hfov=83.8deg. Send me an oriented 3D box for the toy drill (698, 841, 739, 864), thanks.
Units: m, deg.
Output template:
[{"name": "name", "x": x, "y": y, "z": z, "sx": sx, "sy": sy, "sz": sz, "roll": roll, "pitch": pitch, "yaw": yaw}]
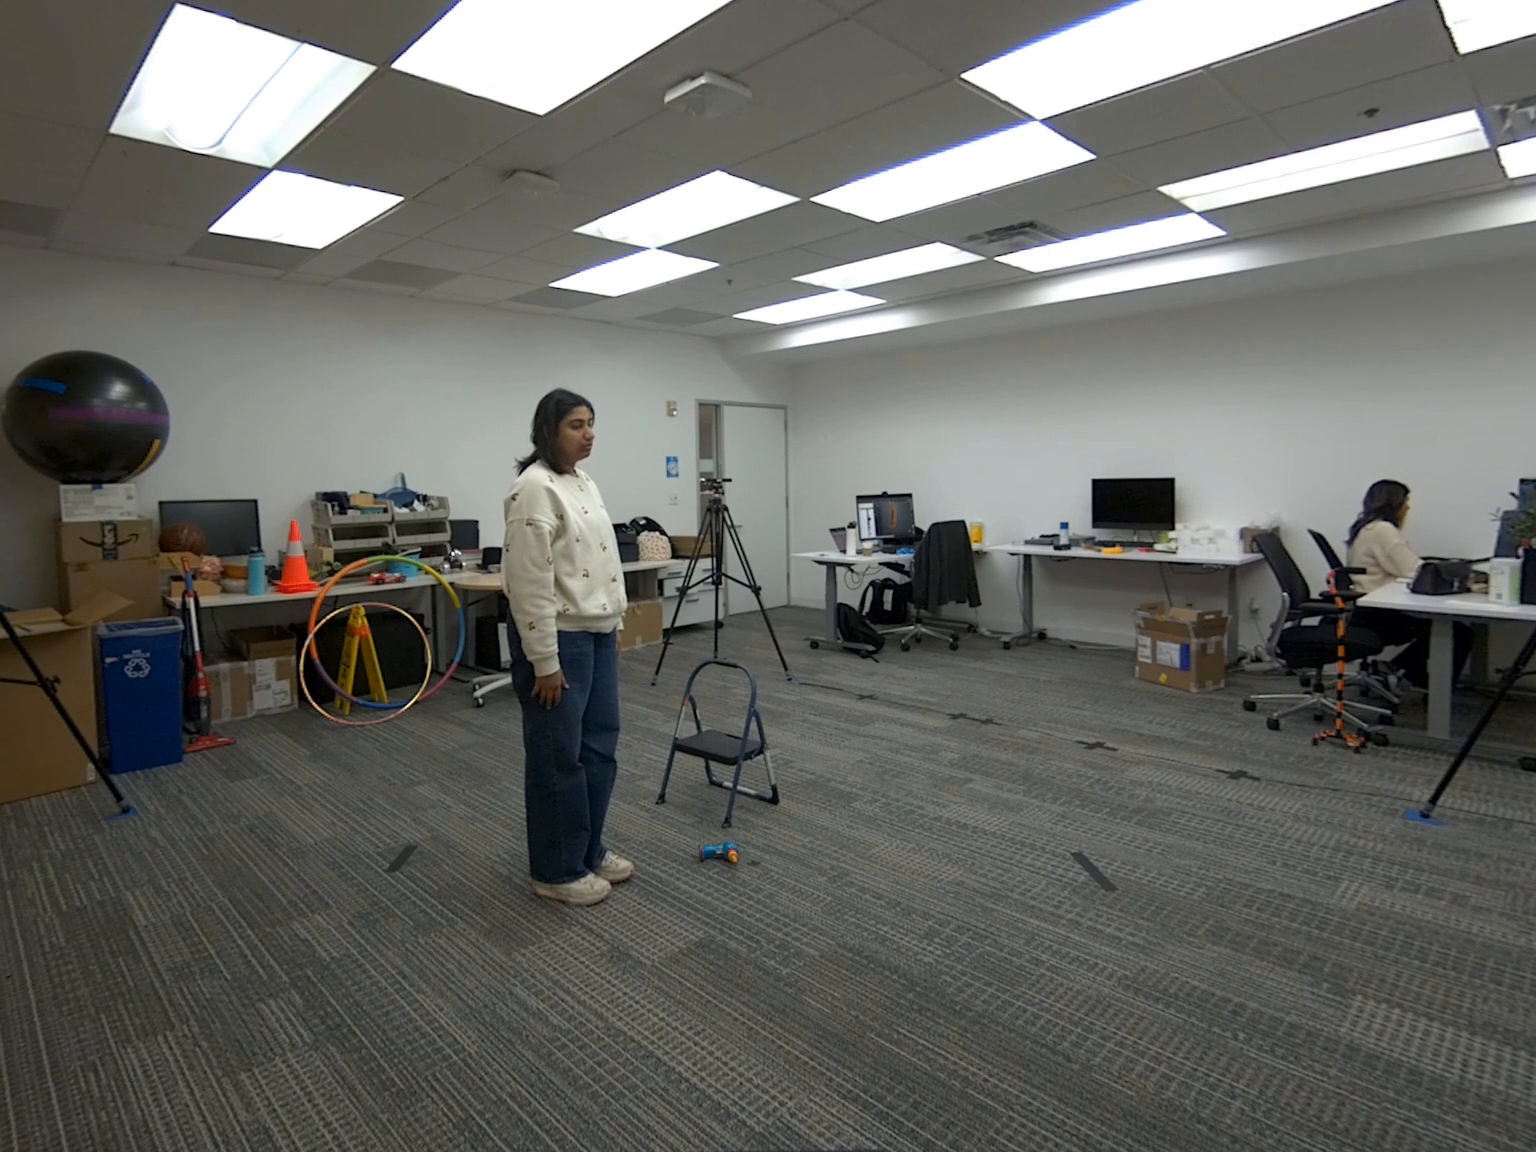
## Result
[{"name": "toy drill", "x": -0.176, "y": 1.023, "z": 3.125, "sx": 0.144, "sy": 0.061, "sz": 0.172, "roll": -3, "pitch": 4, "yaw": -11}]
